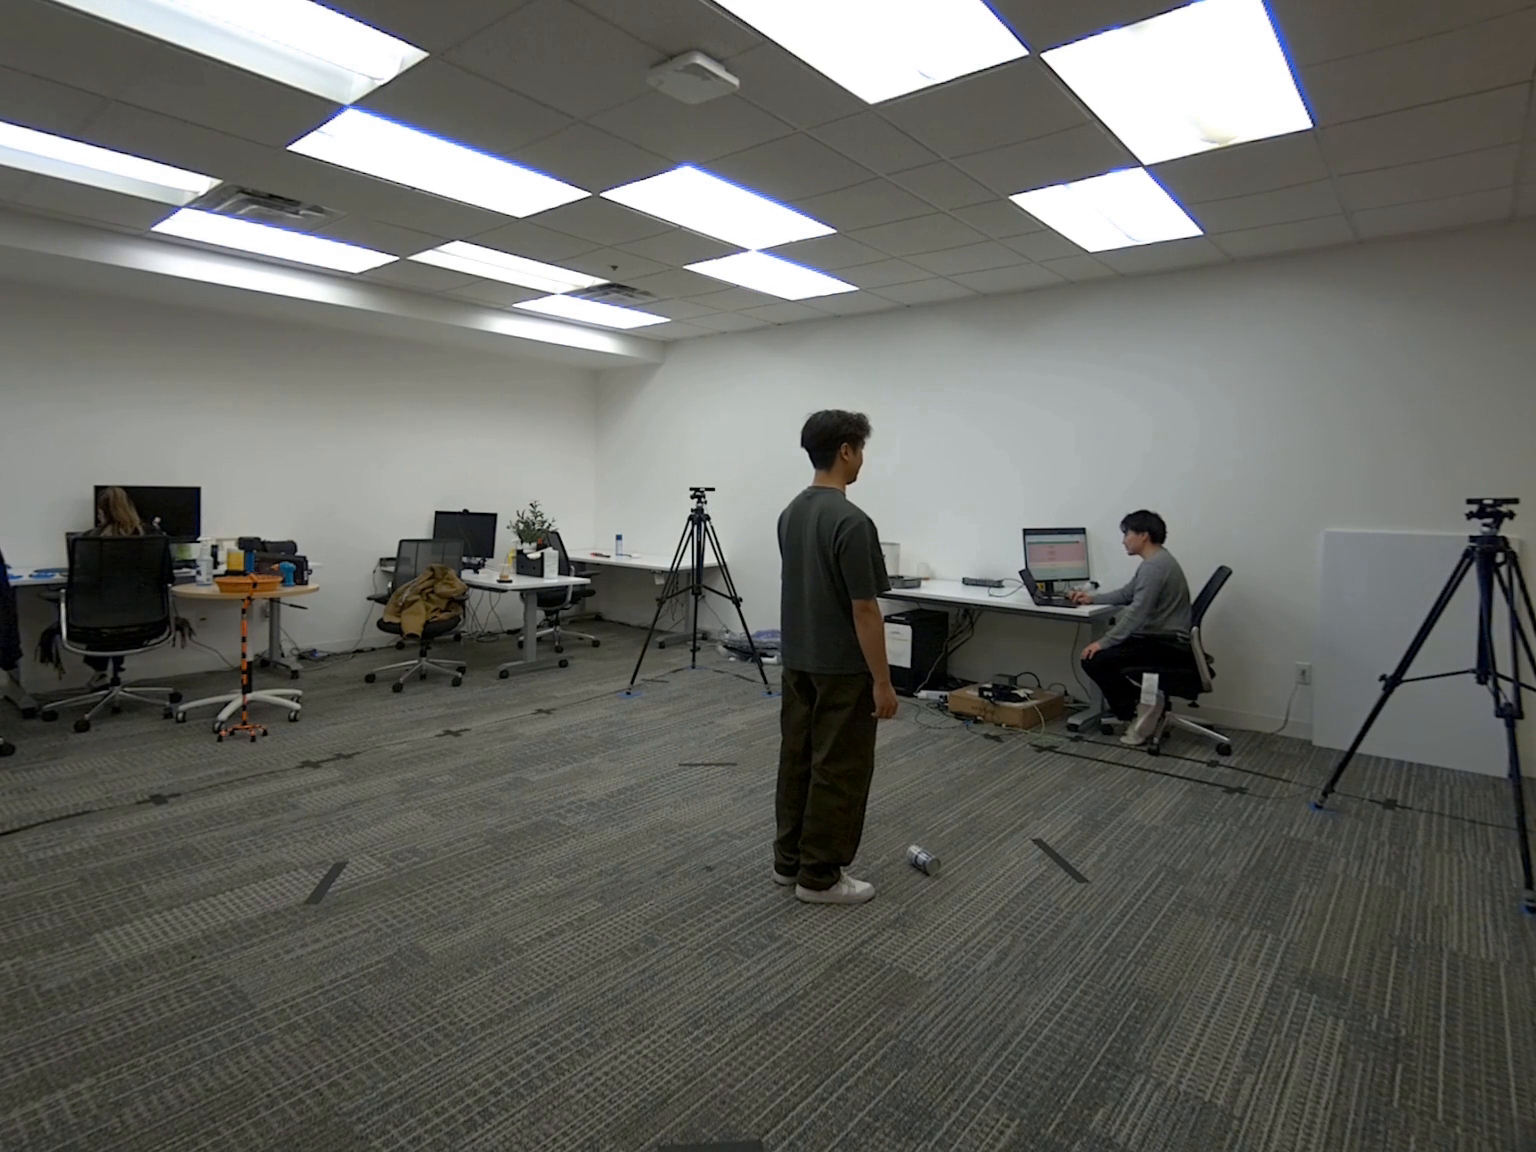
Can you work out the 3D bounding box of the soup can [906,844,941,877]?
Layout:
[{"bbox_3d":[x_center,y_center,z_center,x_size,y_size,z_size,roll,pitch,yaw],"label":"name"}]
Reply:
[{"bbox_3d":[0.566,1.049,3.144,0.065,0.067,0.125,-1,8,-27],"label":"soup can"}]
